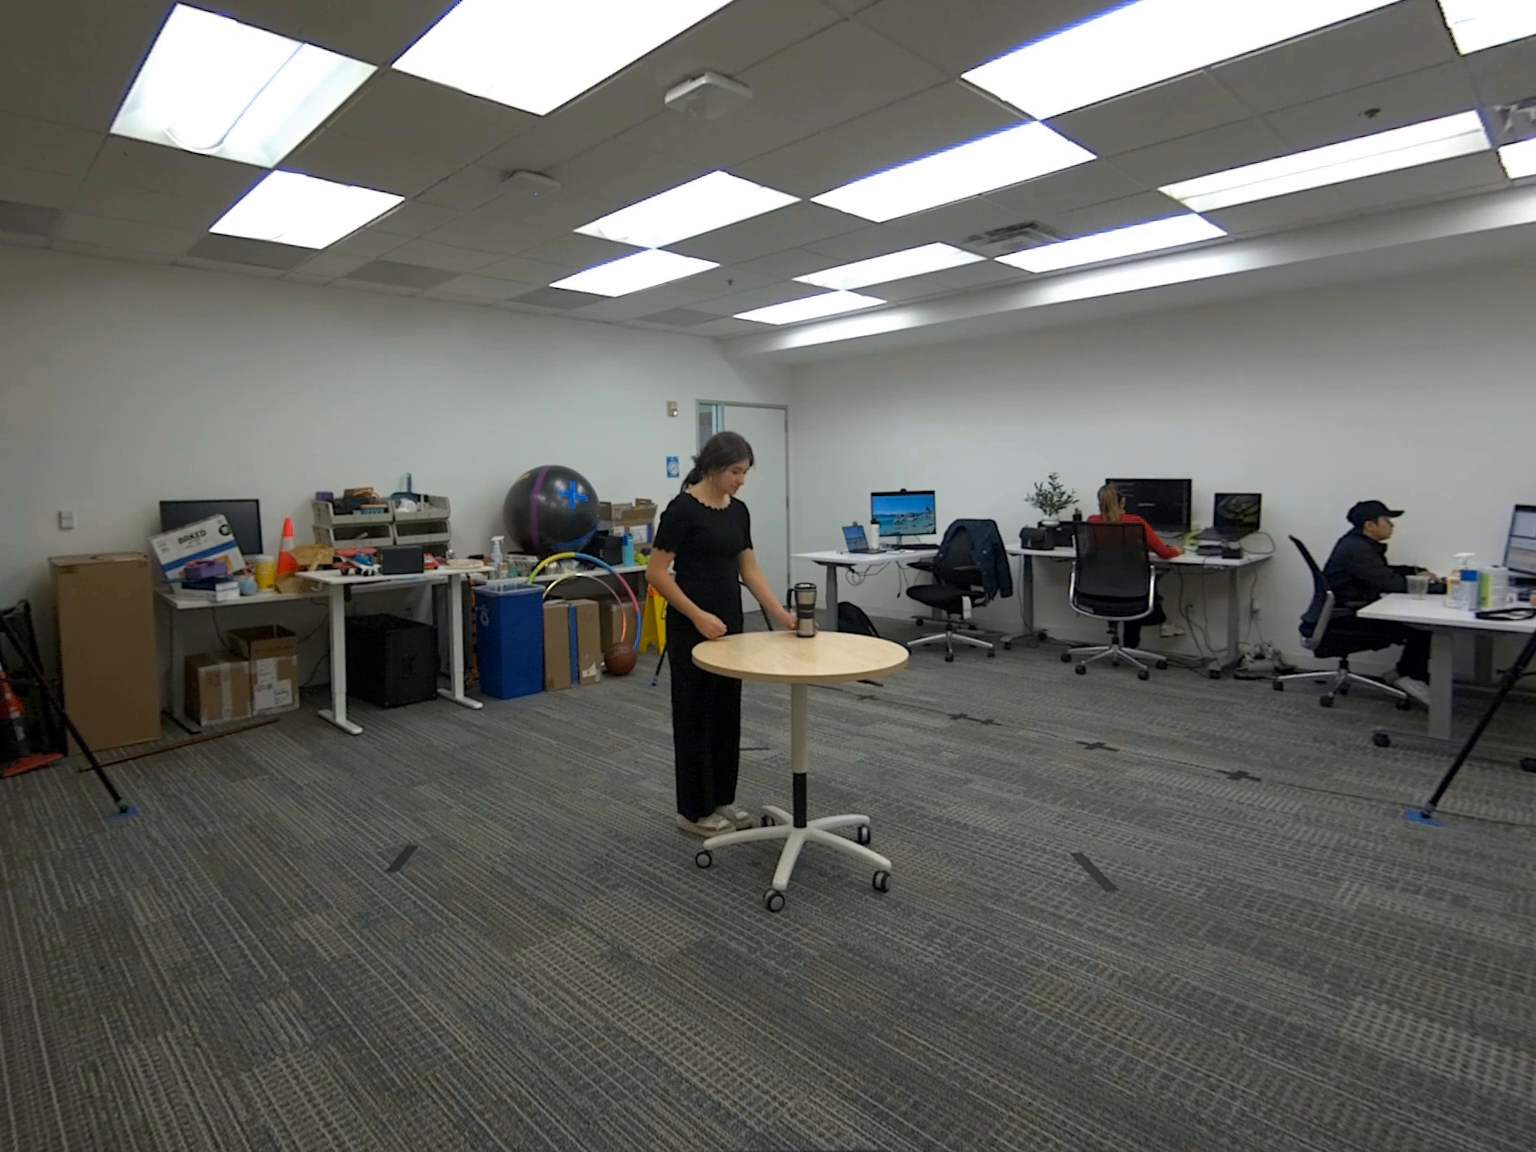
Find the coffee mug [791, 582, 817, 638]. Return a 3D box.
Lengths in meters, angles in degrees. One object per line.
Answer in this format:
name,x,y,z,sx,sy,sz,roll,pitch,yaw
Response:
coffee mug,0.132,0.135,3.315,0.086,0.202,0.125,-4,7,-28
